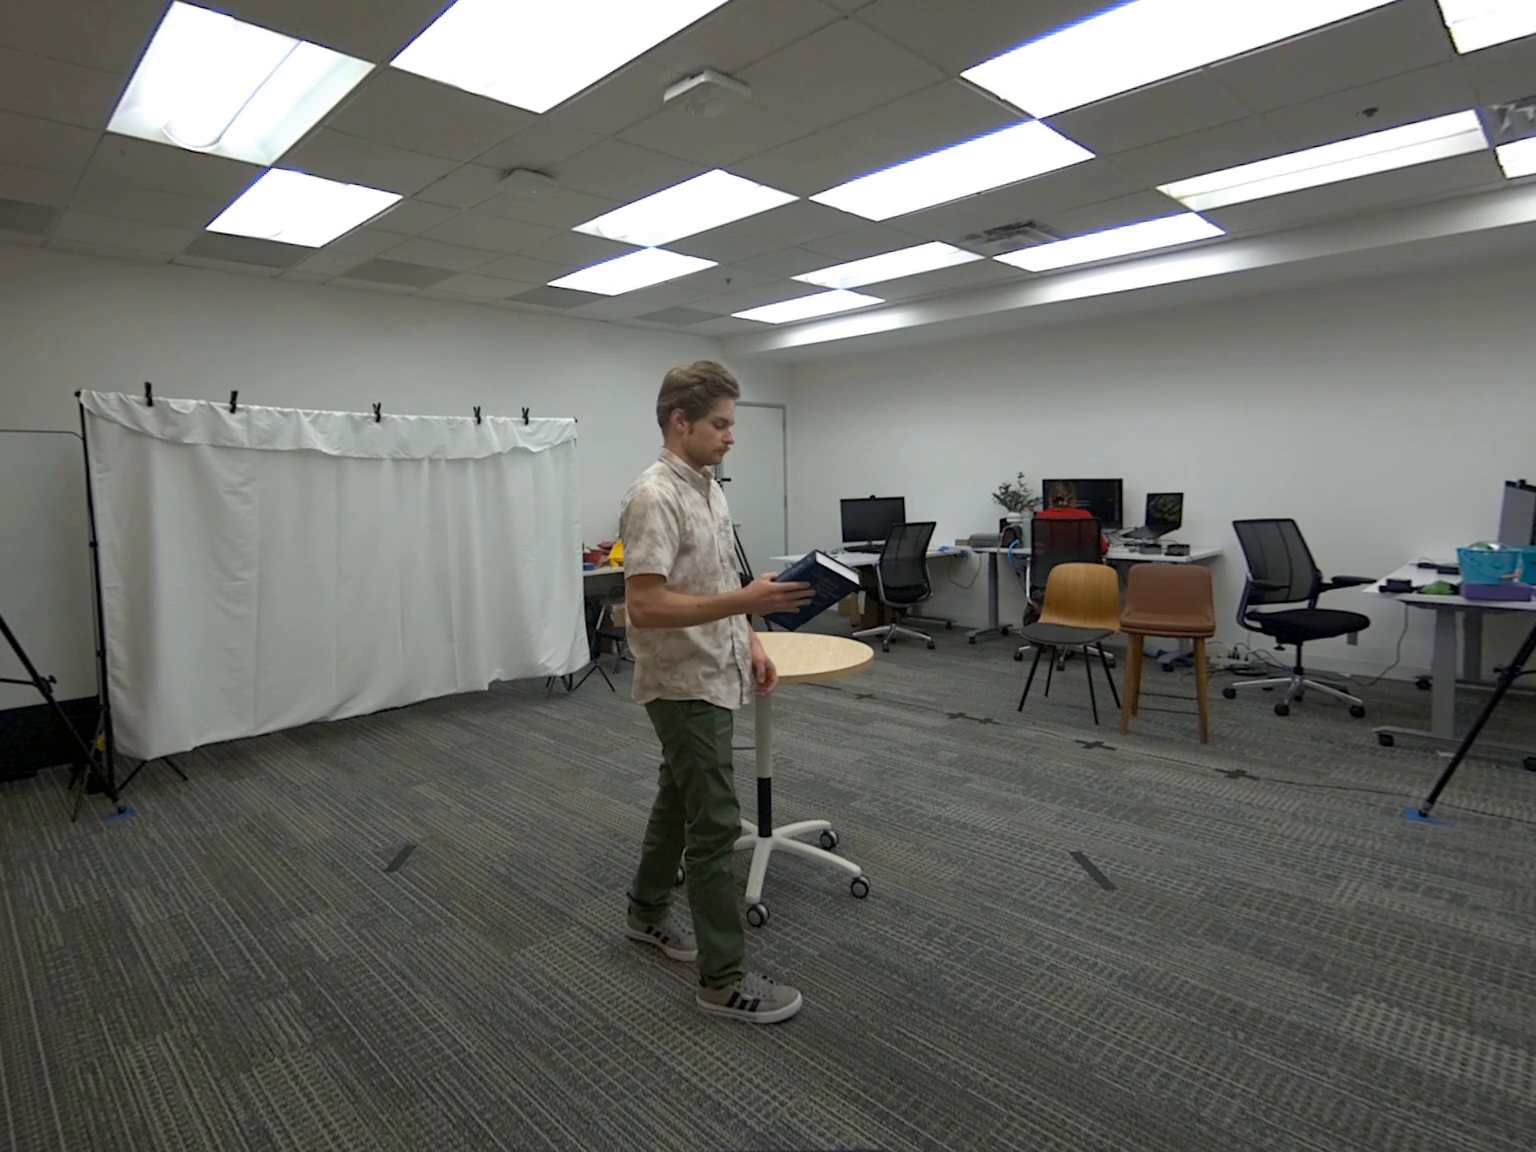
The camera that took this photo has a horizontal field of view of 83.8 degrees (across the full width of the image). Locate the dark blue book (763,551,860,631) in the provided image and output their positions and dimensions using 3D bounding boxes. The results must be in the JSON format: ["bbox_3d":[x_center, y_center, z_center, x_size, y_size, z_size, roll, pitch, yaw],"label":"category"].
[{"bbox_3d":[0.083,0.037,2.134,0.158,0.046,0.247,29,-48,-33],"label":"dark blue book"}]
